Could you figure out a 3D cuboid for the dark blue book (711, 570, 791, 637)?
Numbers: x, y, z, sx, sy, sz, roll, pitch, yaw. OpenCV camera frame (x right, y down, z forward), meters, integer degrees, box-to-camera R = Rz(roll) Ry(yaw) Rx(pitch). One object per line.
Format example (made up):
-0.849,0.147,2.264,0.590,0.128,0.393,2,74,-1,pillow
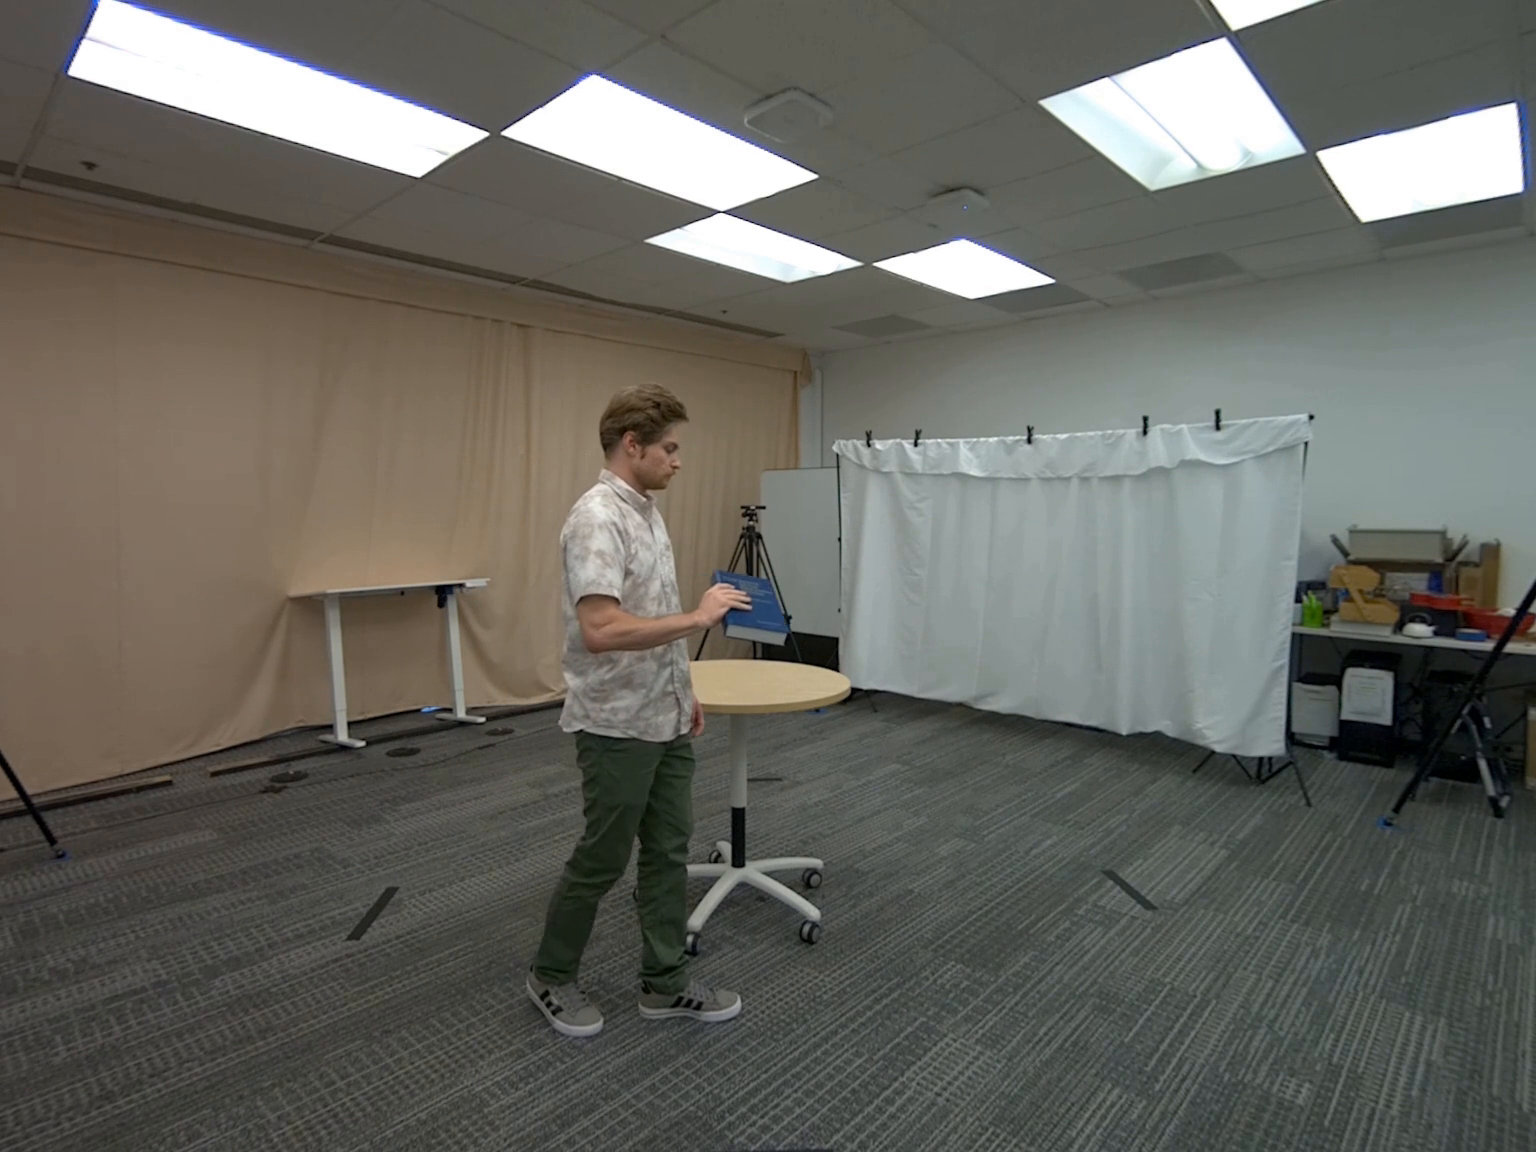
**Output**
-0.042,0.081,2.157,0.160,0.045,0.251,10,29,-19,dark blue book
